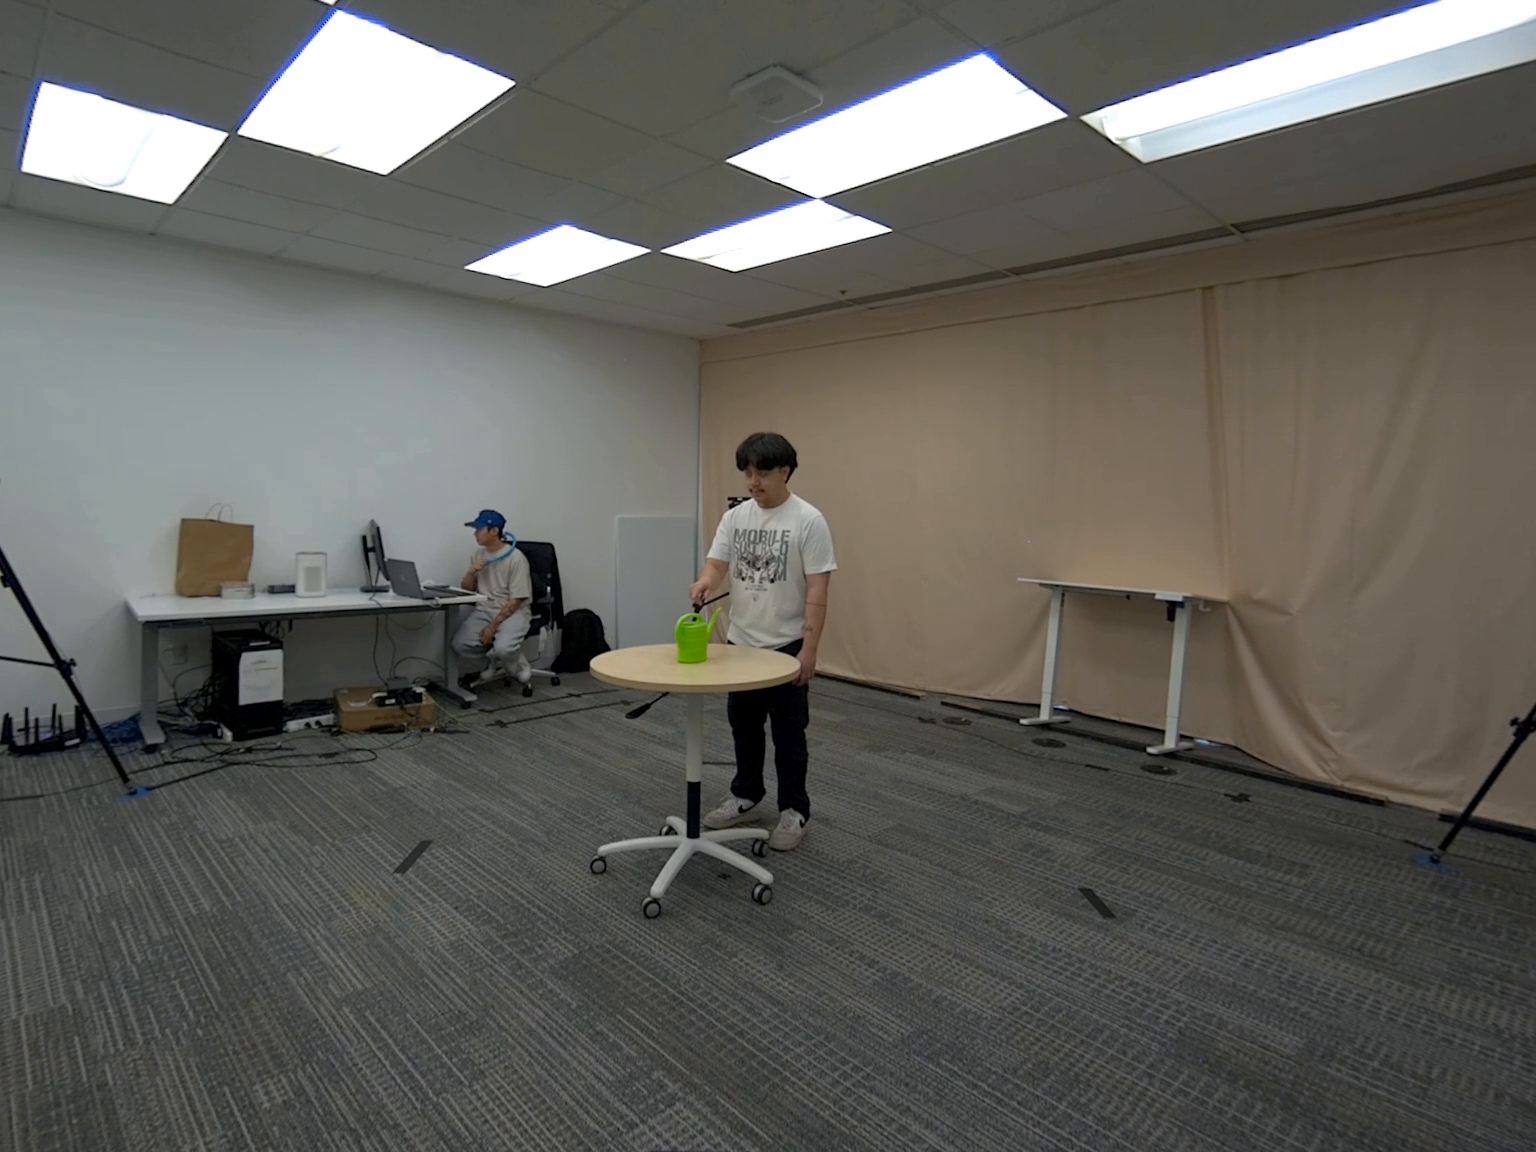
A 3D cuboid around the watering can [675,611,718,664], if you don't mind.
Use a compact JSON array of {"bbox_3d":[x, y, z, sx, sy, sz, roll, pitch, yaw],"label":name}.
[{"bbox_3d":[-0.261,0.220,3.117,0.100,0.176,0.272,5,8,42],"label":"watering can"}]
